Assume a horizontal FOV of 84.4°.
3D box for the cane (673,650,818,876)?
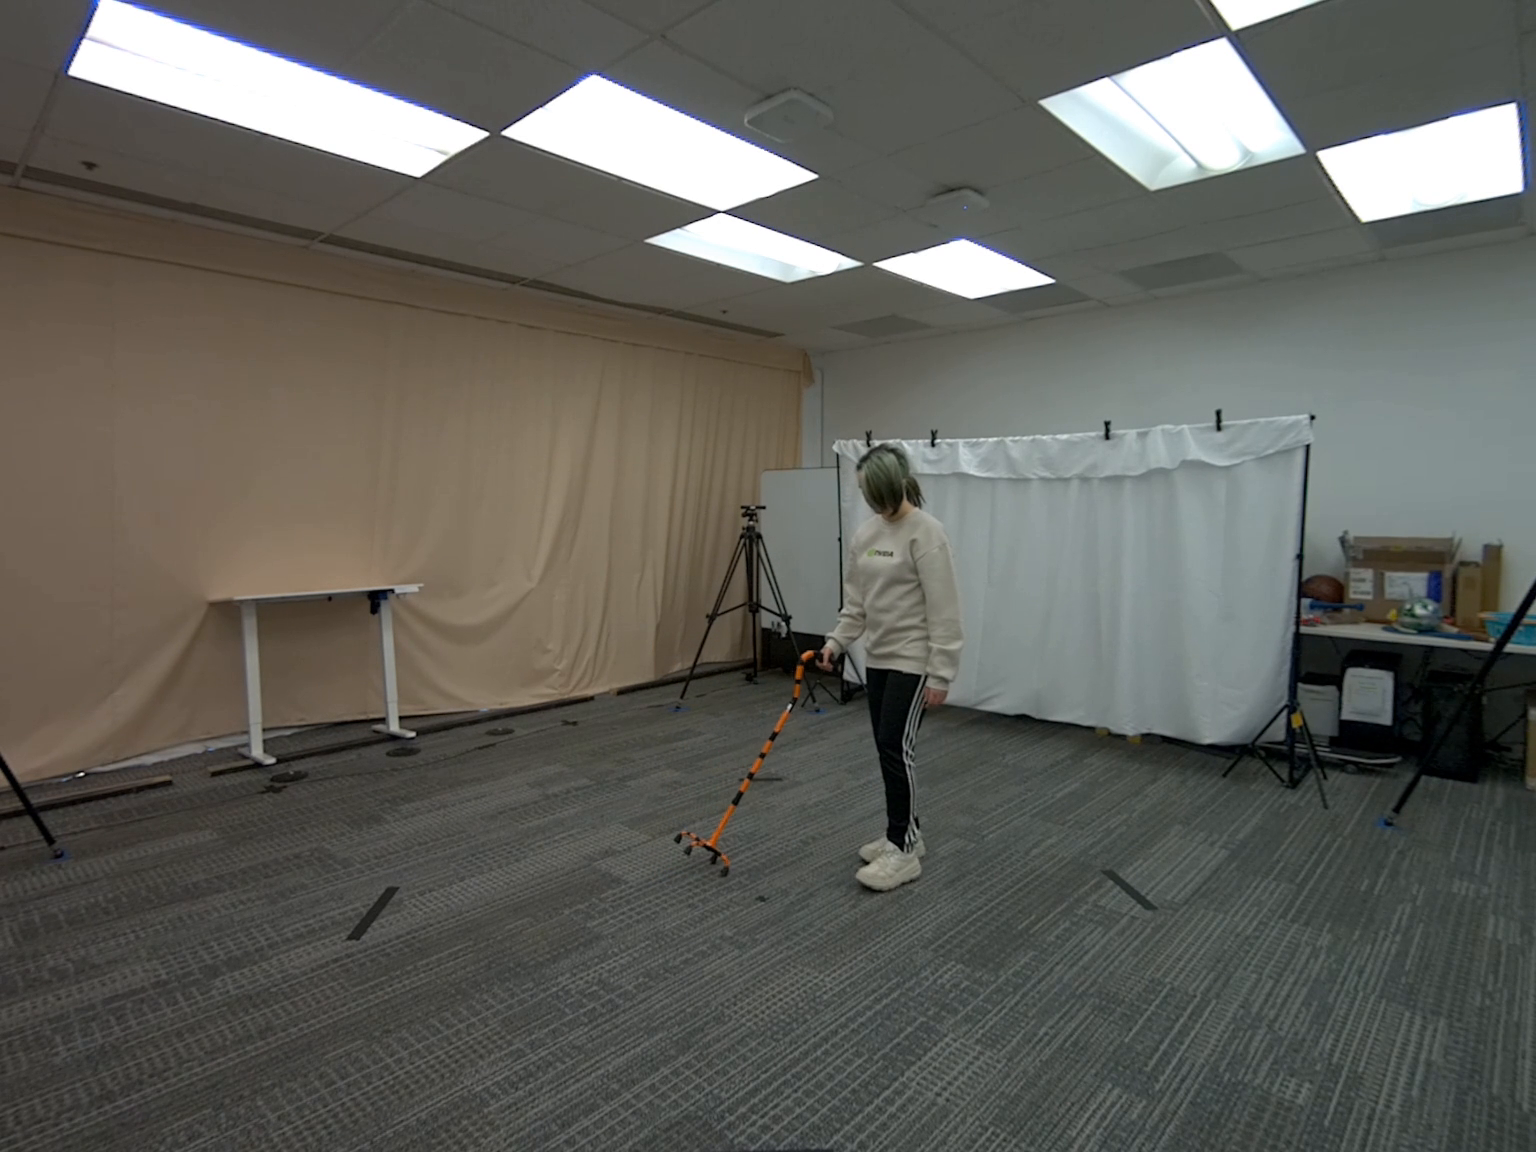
[{"bbox_3d":[-0.027,0.692,3.267,0.202,0.908,0.155,34,-9,-18],"label":"cane"}]
